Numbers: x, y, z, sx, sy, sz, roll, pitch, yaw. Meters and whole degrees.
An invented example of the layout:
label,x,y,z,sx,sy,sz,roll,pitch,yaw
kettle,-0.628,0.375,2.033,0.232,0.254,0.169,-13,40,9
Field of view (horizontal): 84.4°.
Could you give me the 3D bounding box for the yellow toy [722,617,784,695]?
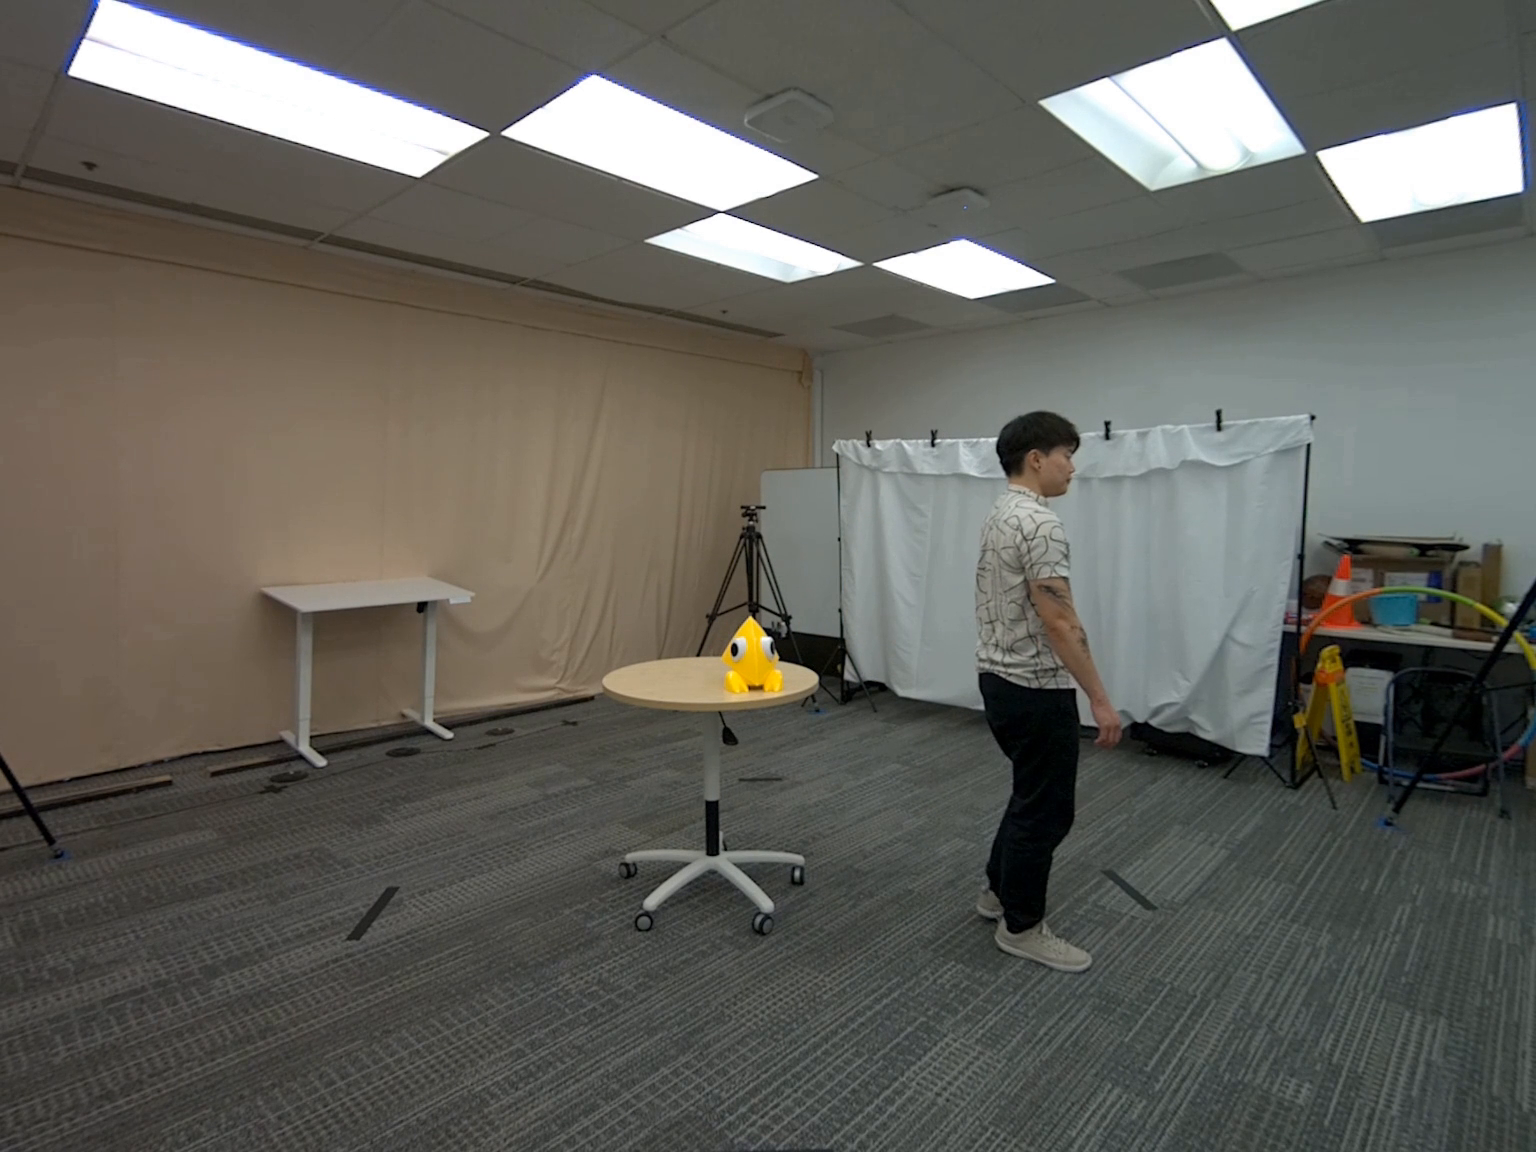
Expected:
label,x,y,z,sx,sy,sz,roll,pitch,yaw
yellow toy,-0.049,0.263,2.827,0.203,0.230,0.195,0,4,-7
